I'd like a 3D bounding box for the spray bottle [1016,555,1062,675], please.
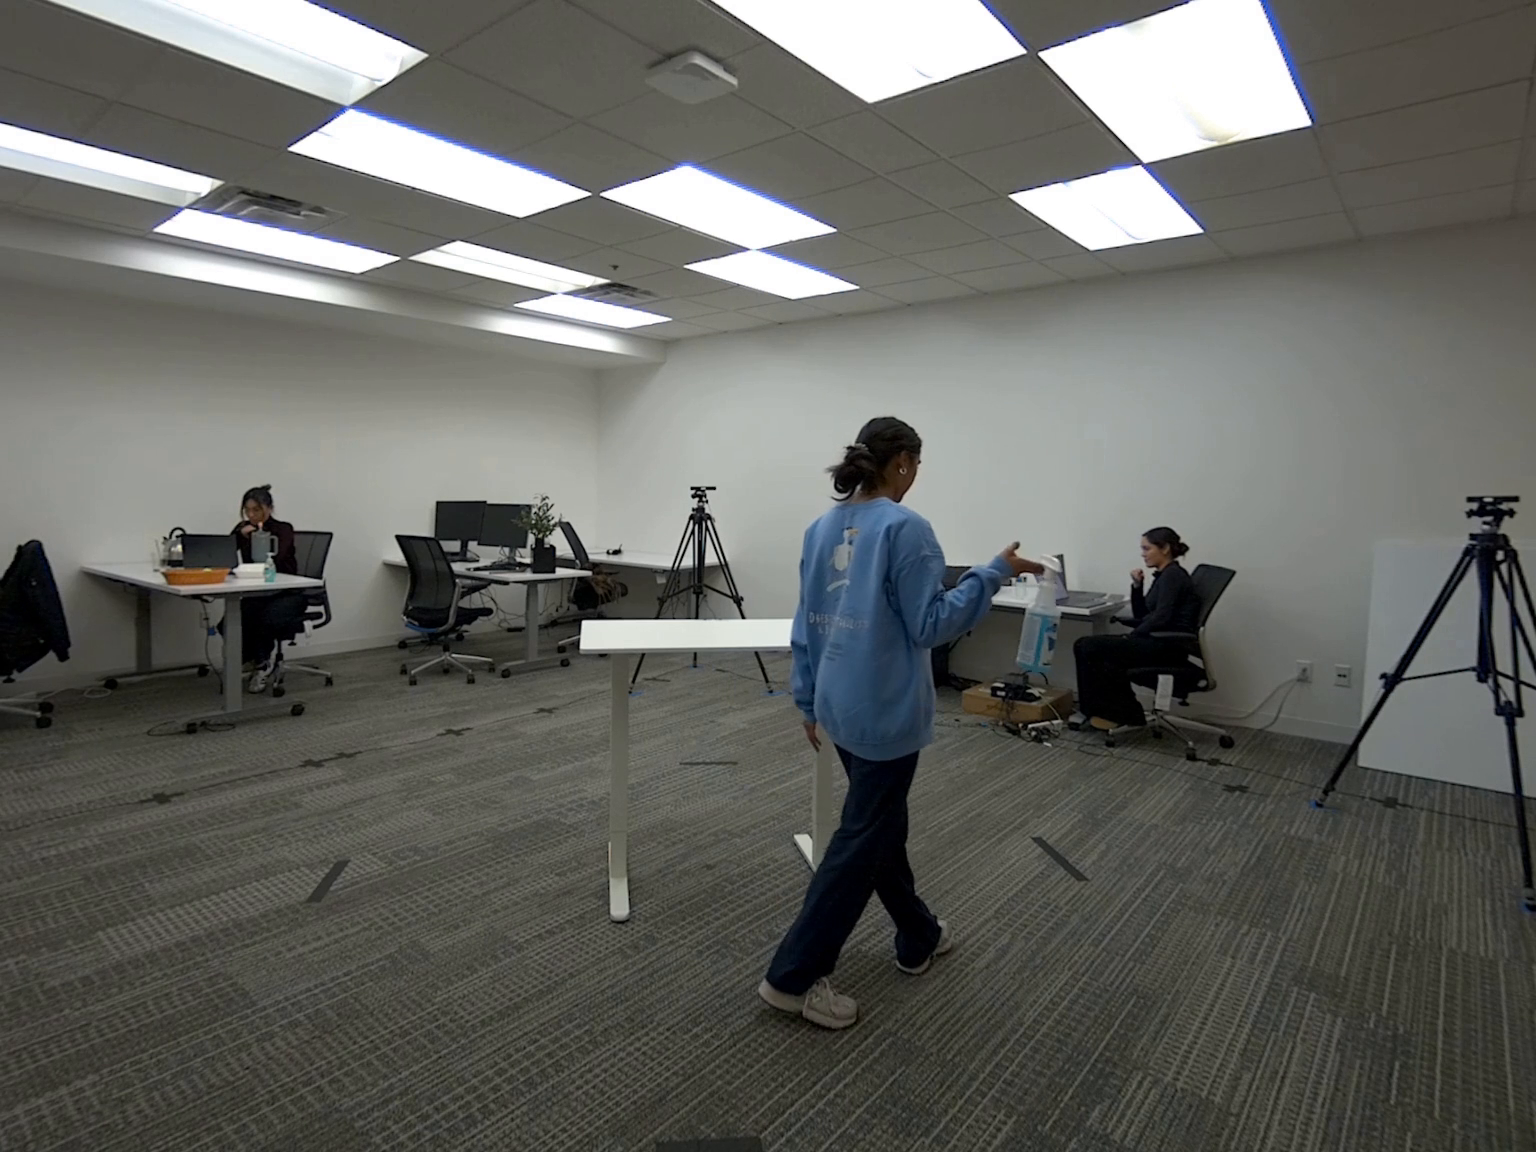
[{"bbox_3d":[0.711,0.090,2.209,0.088,0.296,0.089,8,6,12],"label":"spray bottle"}]
